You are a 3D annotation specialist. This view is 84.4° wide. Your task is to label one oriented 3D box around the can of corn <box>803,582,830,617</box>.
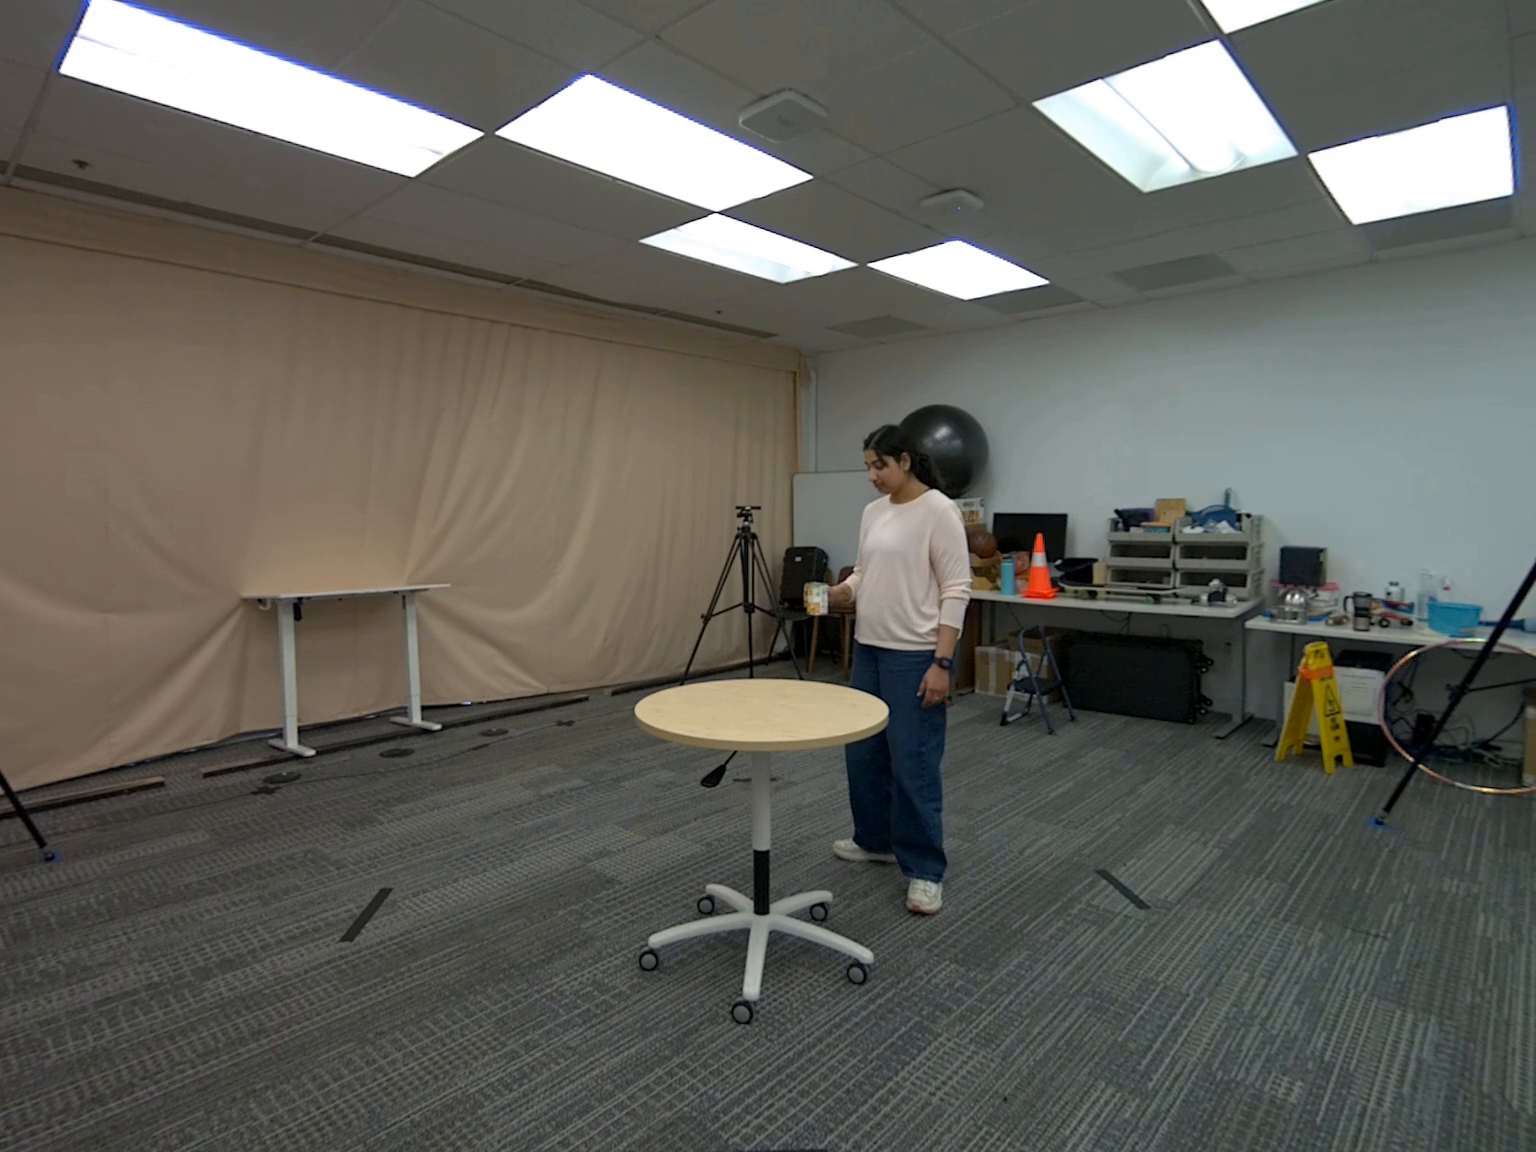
[{"bbox_3d":[0.177,0.087,3.047,0.074,0.111,0.074,1,-1,-2],"label":"can of corn"}]
